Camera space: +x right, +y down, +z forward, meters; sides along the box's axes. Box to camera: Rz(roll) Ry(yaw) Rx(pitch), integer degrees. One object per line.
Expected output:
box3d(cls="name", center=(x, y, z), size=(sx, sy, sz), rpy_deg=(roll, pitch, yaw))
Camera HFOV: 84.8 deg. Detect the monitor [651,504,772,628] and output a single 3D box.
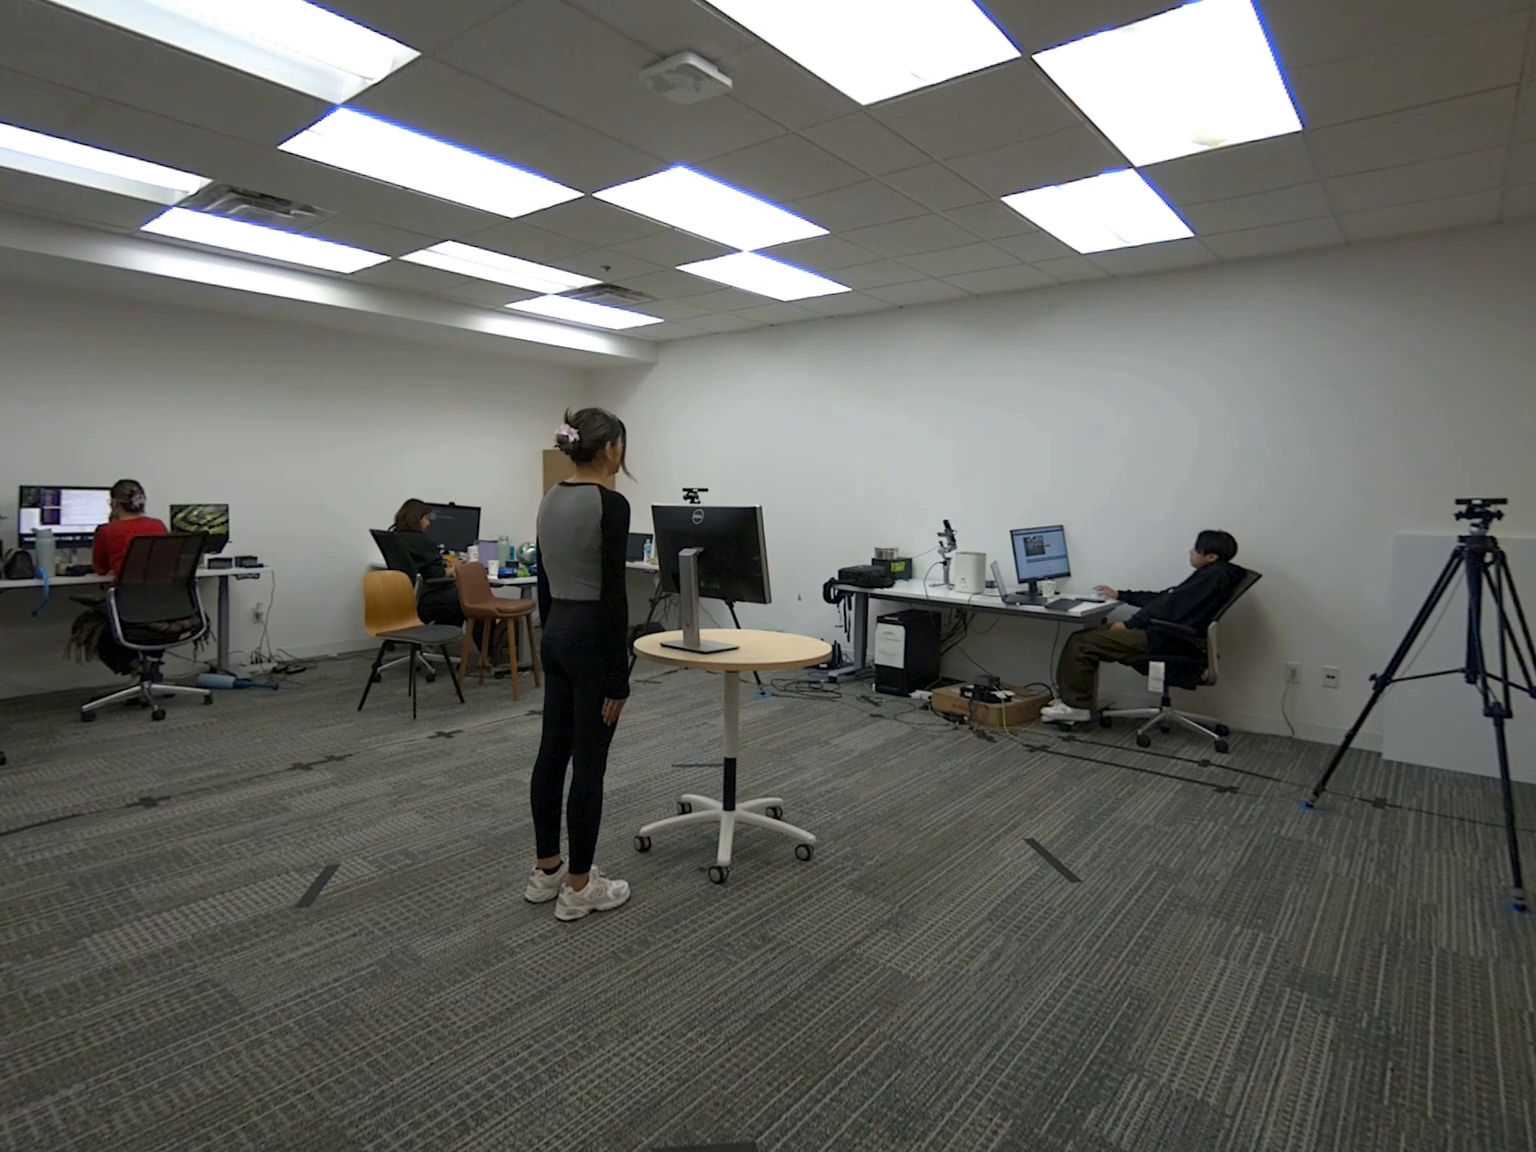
box3d(cls="monitor", center=(-0.262, 0.003, 3.206), size=(0.557, 0.522, 0.181), rpy_deg=(4, 2, 40))
